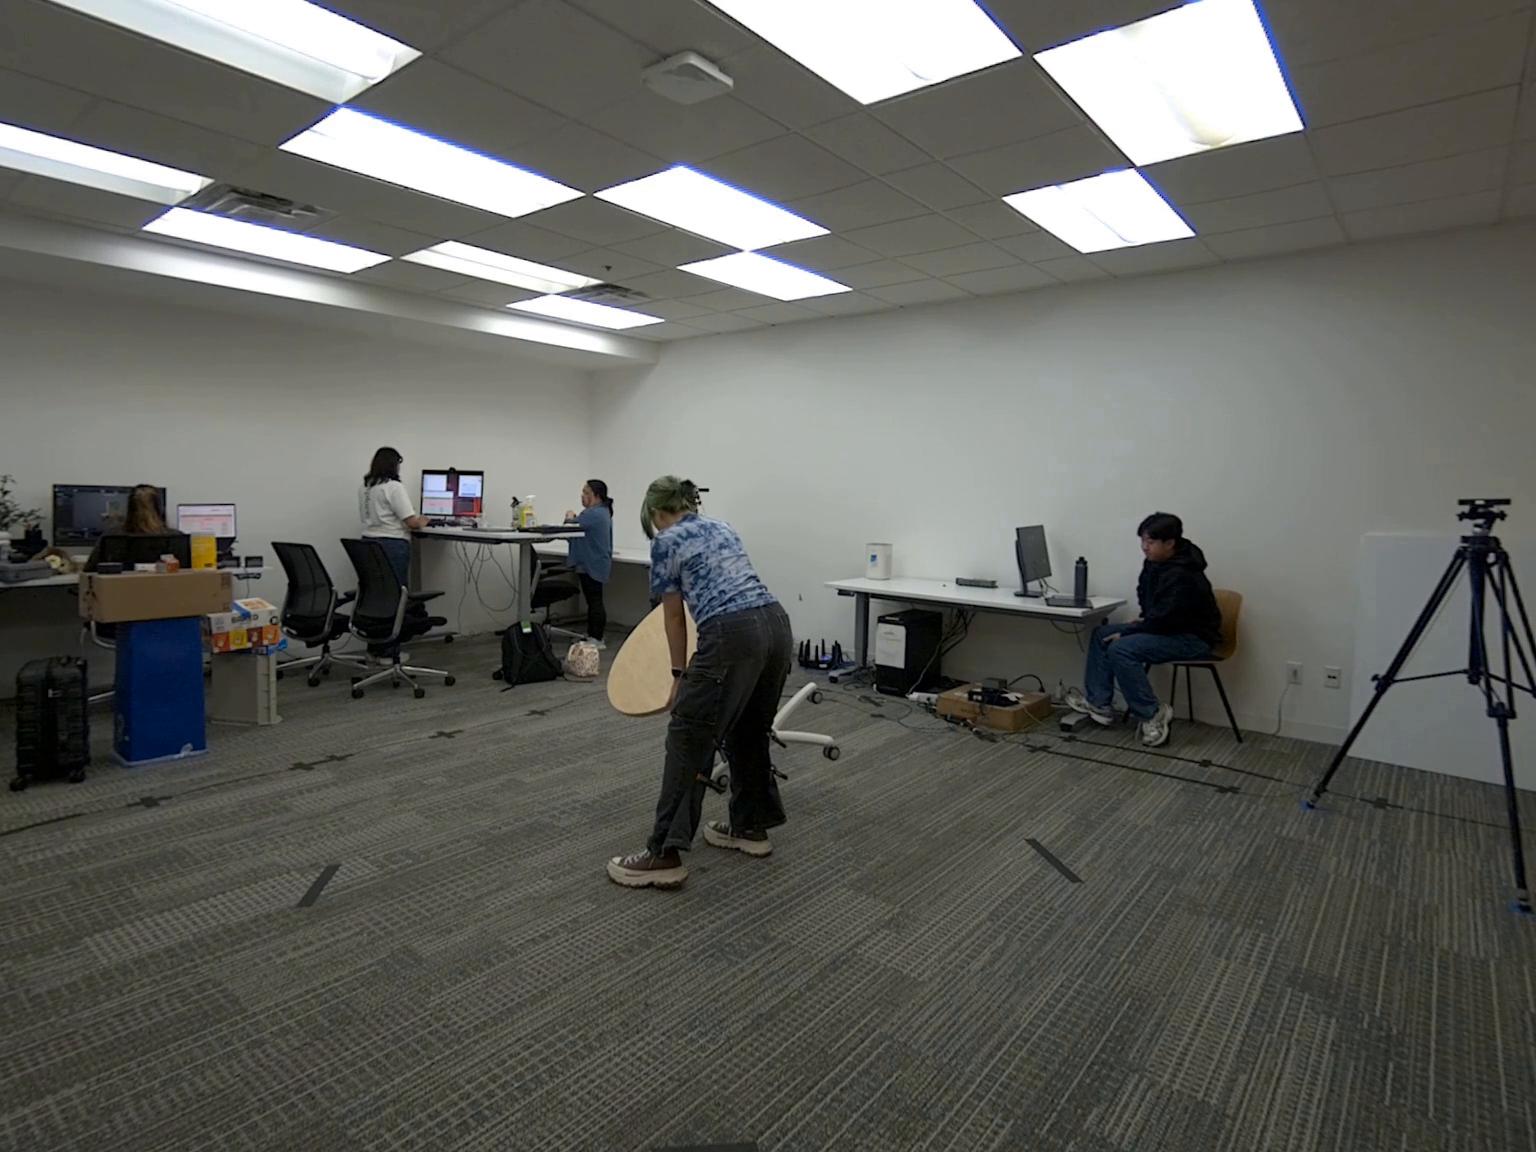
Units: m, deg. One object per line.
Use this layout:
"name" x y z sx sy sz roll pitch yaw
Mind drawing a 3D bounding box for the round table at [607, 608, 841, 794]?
"round table" -0.170 0.535 3.775 0.769 0.768 0.784 -30 28 15
